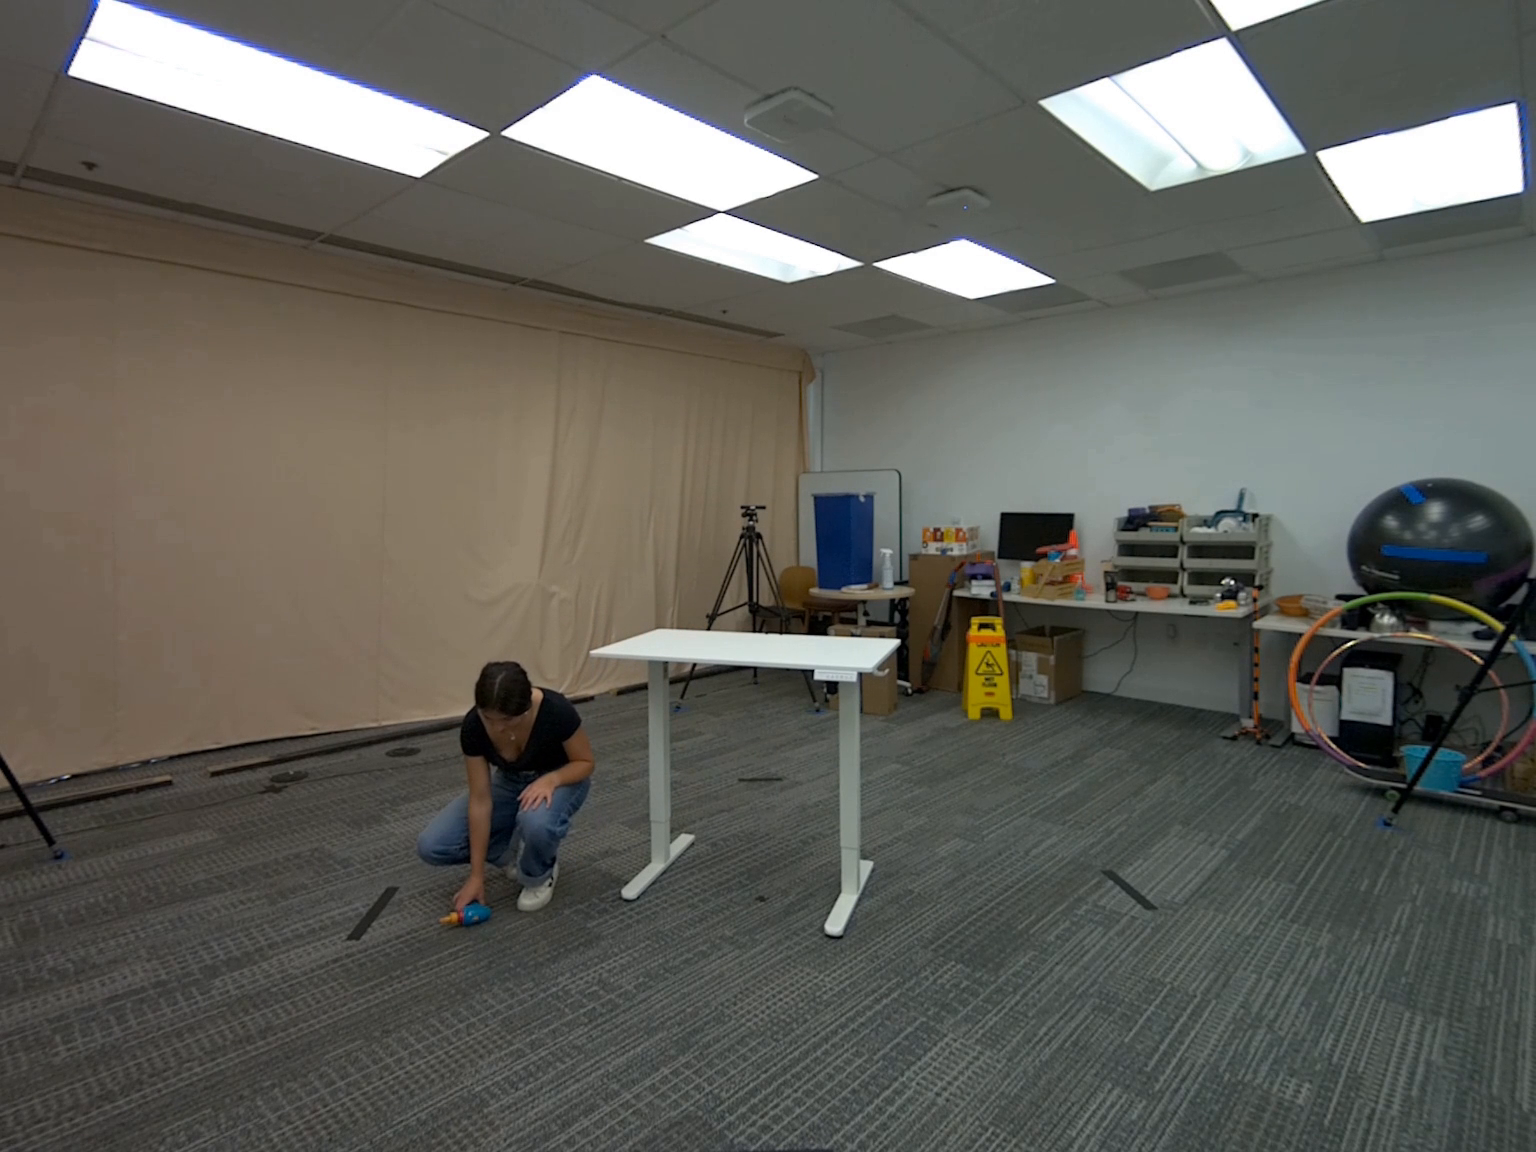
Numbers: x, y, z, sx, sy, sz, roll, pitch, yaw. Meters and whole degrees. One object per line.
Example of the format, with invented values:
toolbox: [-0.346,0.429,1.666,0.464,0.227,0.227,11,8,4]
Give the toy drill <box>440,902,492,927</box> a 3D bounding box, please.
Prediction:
toy drill: [-1.024,1.135,2.844,0.165,0.061,0.150,-4,7,-32]
